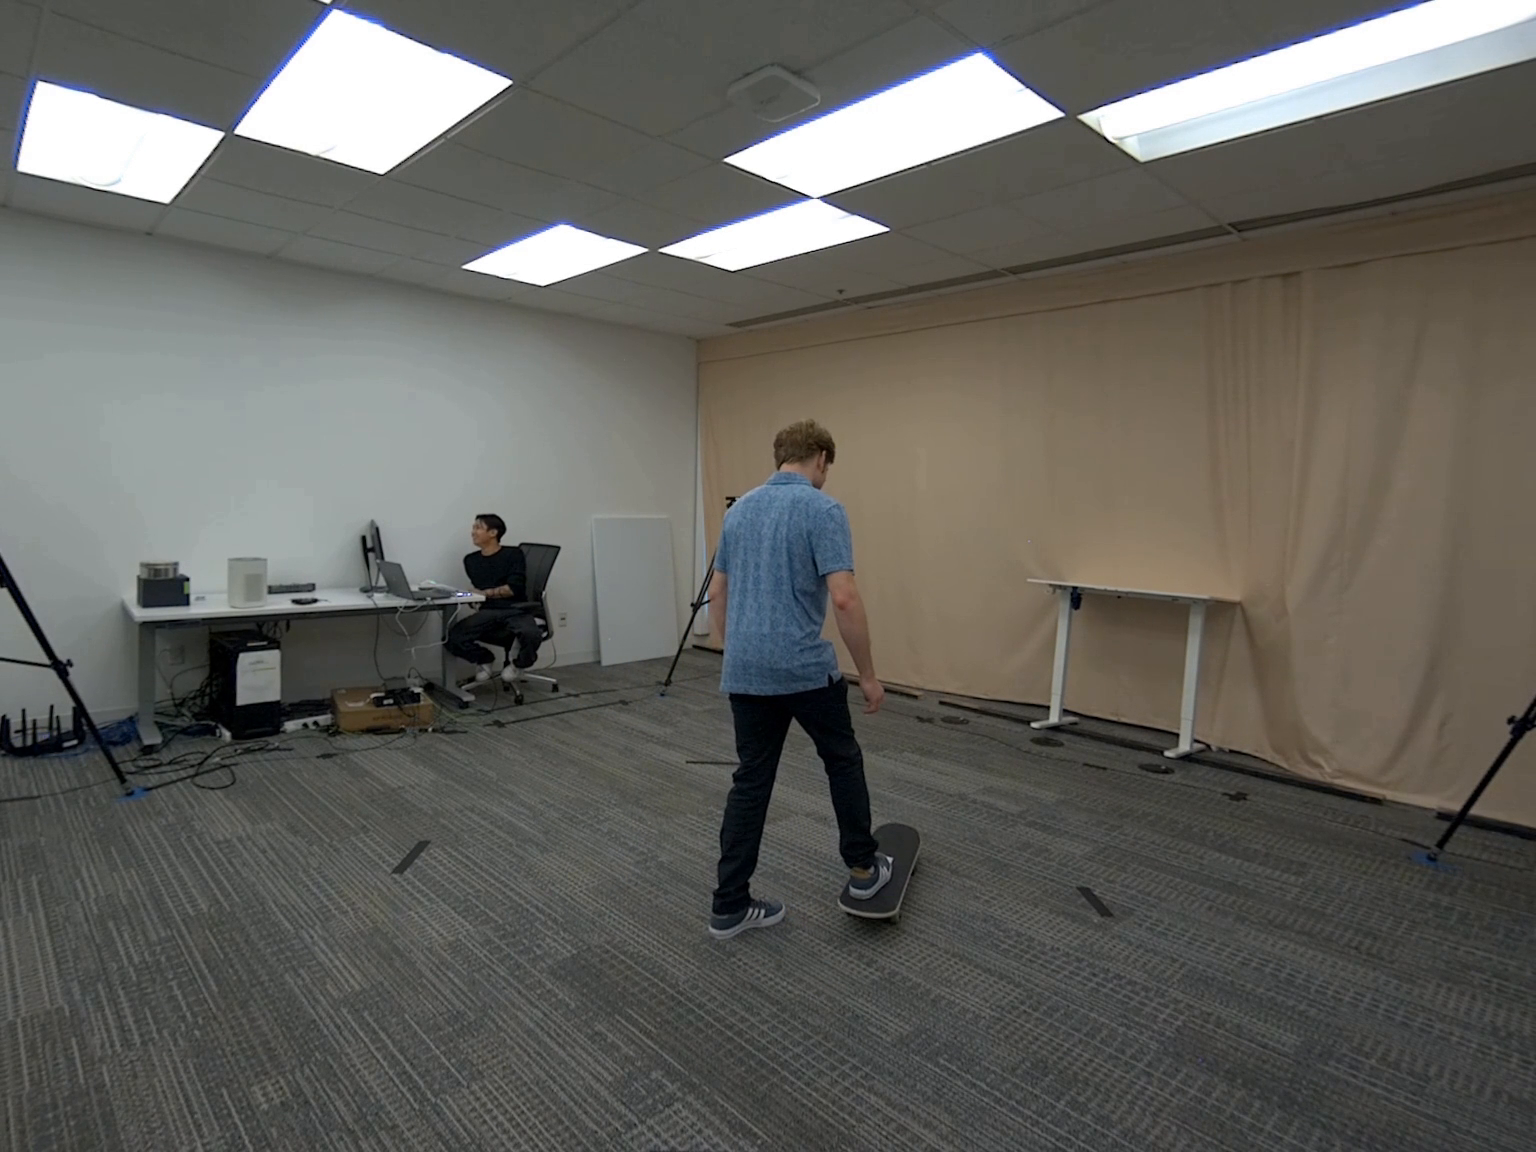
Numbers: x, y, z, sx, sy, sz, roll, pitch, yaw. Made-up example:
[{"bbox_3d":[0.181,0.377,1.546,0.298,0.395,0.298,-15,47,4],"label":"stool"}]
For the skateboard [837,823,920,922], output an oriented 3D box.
[{"bbox_3d":[0.402,1.069,3.001,0.196,0.110,0.776,2,5,17],"label":"skateboard"}]
